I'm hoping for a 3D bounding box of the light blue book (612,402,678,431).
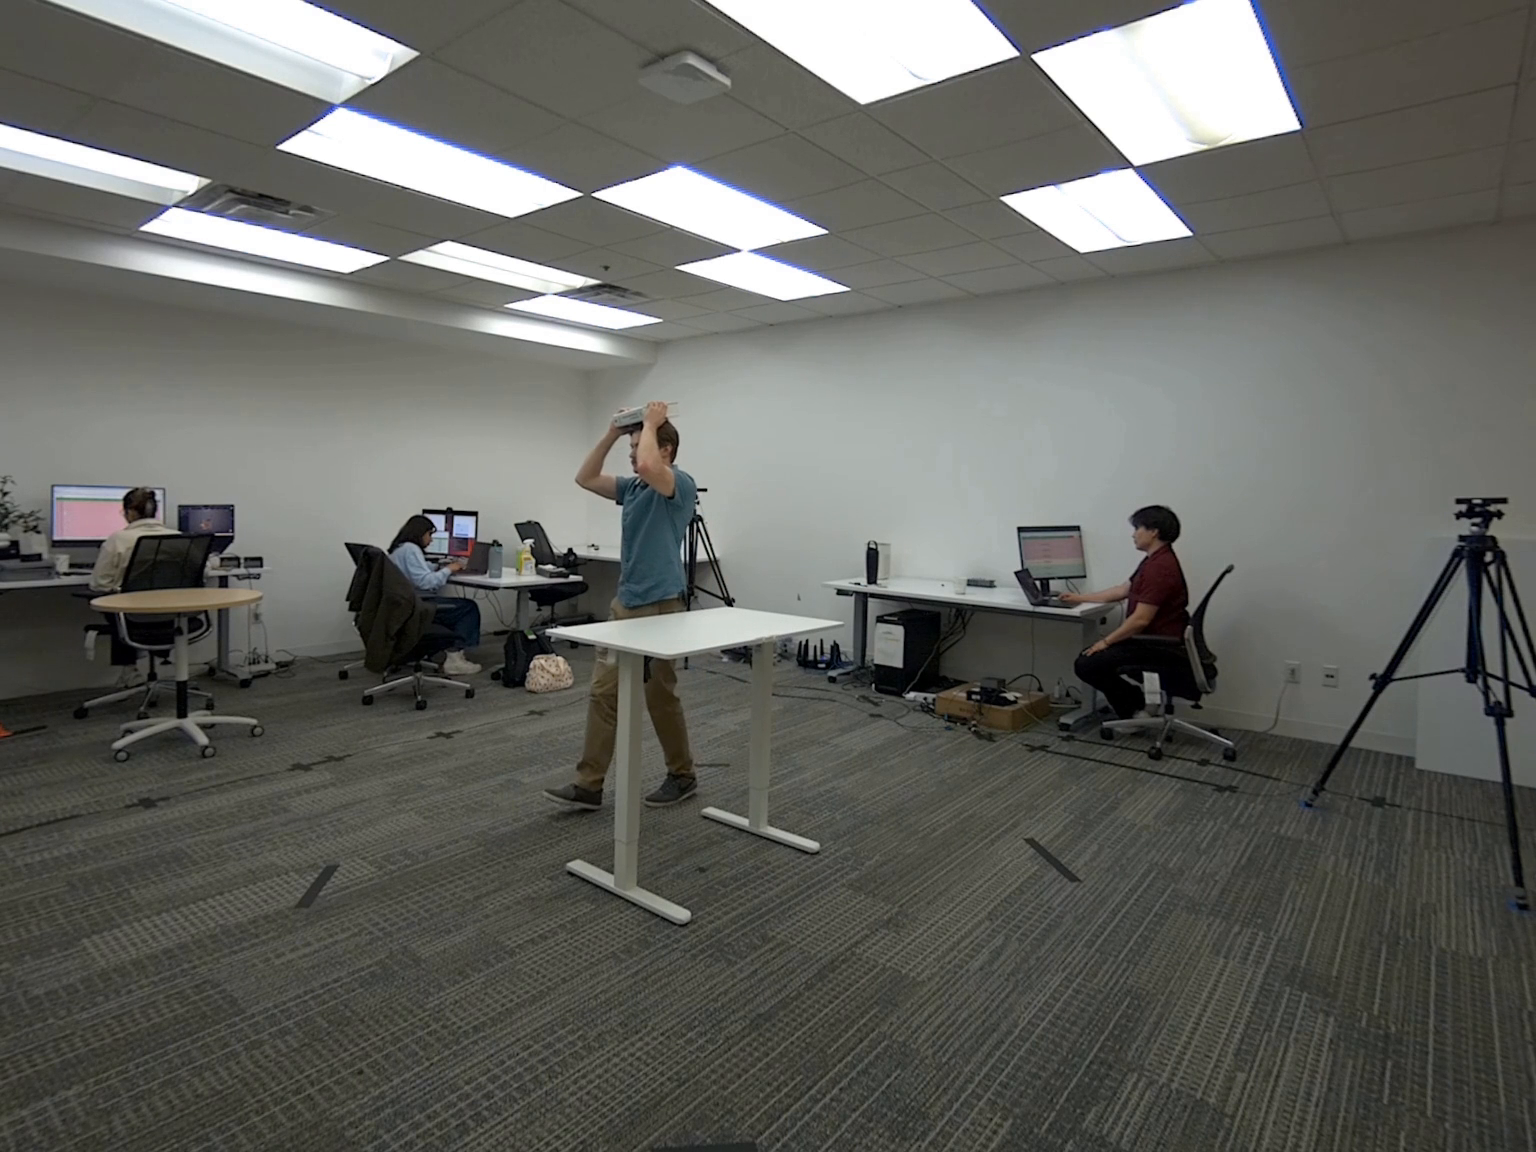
[{"bbox_3d":[-0.534,-0.701,3.693,0.187,0.058,0.269,-15,9,-38],"label":"light blue book"}]
